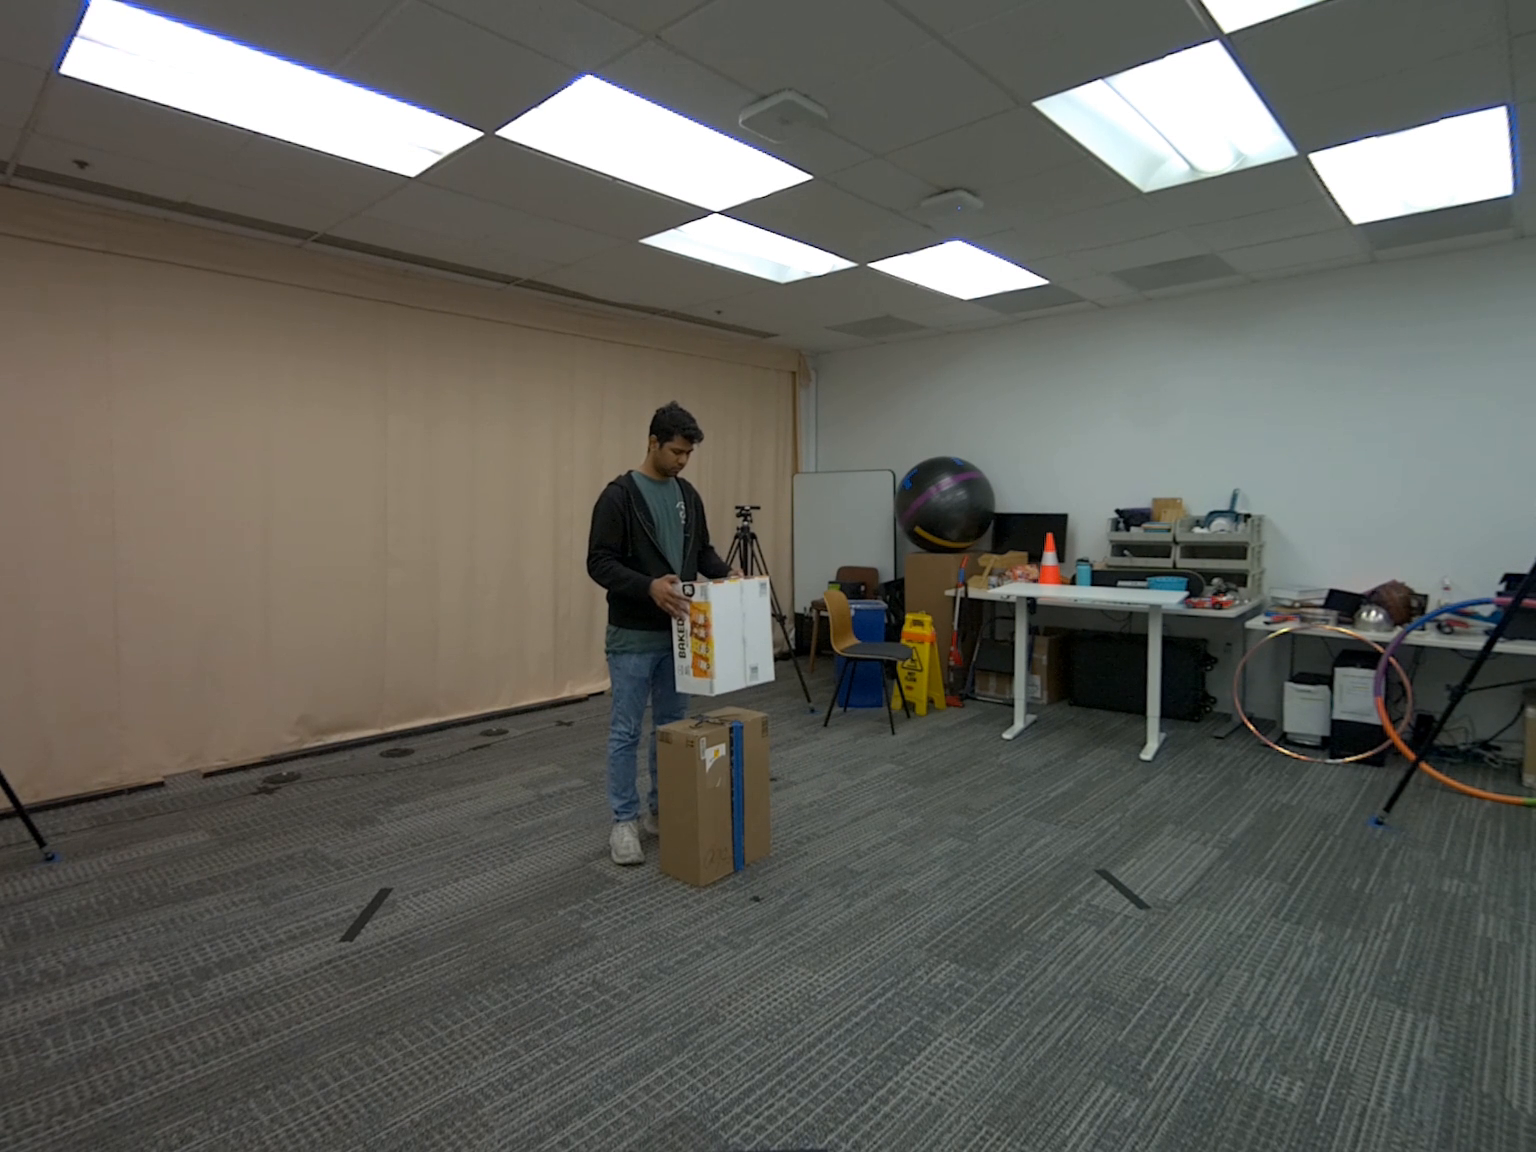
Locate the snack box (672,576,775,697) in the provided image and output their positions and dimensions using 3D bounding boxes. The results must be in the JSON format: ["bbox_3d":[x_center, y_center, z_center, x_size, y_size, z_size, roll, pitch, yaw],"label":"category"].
[{"bbox_3d":[-0.165,0.213,3.190,0.212,0.405,0.330,-2,2,42],"label":"snack box"}]
